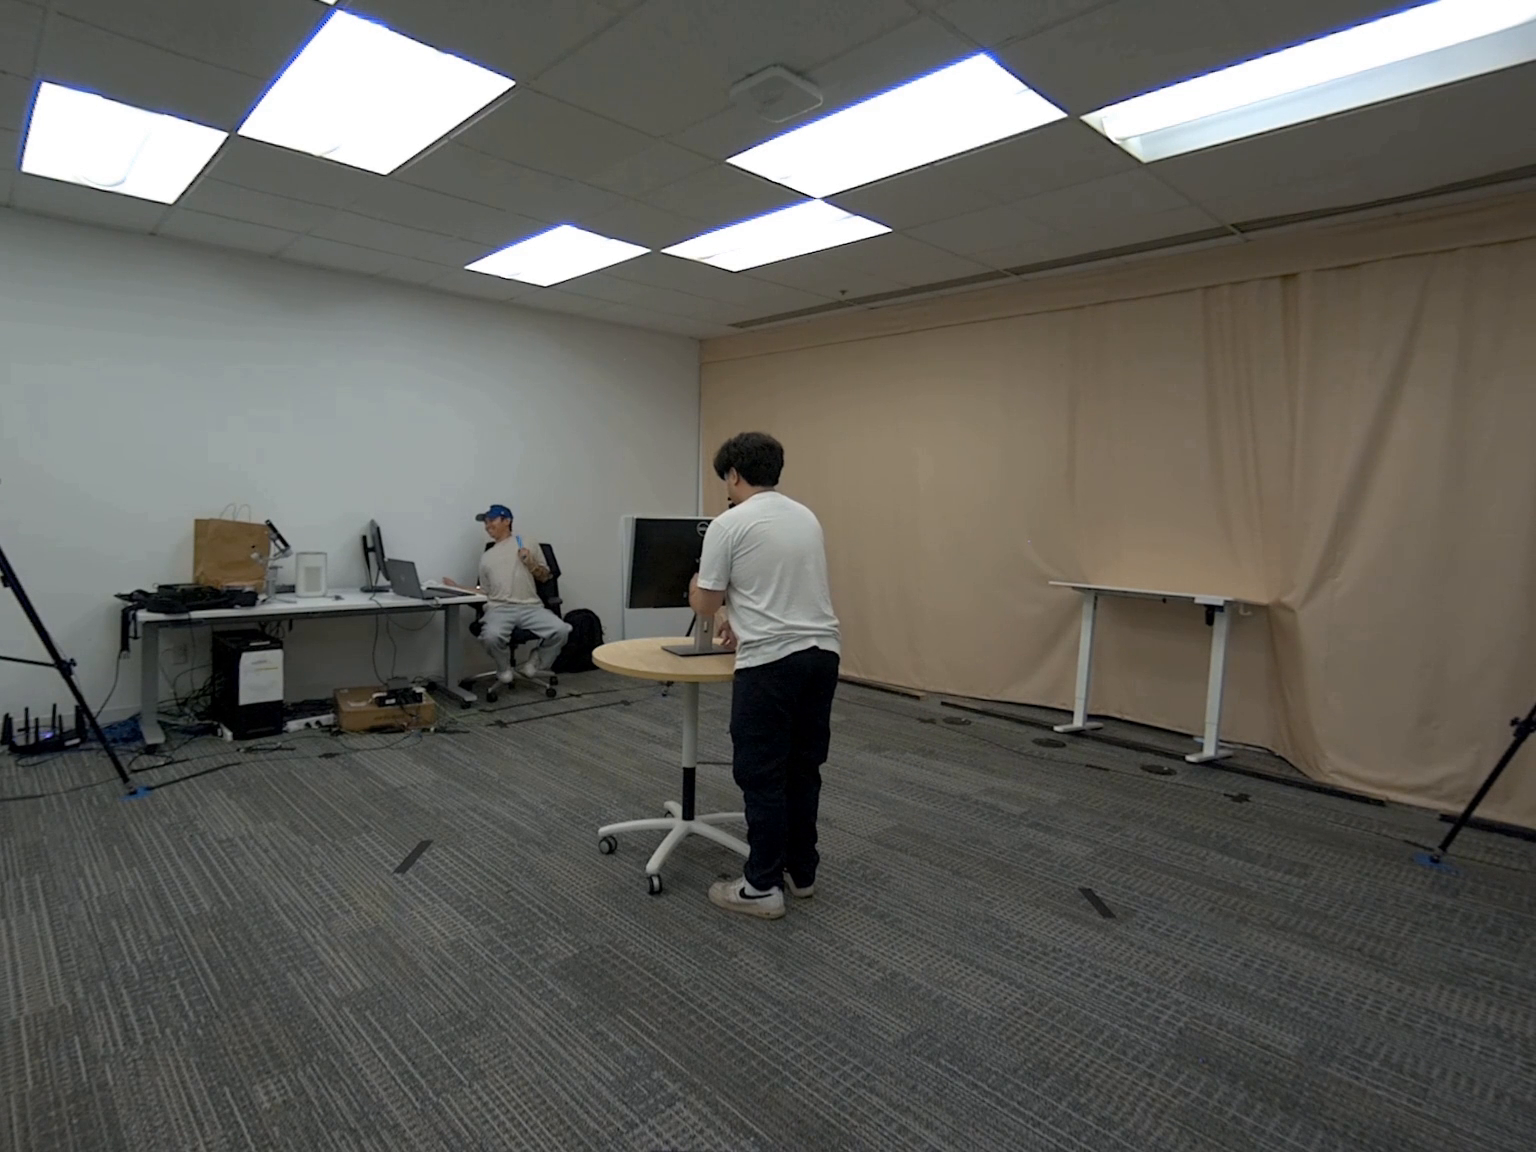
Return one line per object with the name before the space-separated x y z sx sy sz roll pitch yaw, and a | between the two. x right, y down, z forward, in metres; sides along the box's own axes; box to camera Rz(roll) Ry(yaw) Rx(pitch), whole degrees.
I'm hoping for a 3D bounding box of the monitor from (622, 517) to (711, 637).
monitor | -0.260 0.046 3.267 0.554 0.551 0.215 0 8 -29
